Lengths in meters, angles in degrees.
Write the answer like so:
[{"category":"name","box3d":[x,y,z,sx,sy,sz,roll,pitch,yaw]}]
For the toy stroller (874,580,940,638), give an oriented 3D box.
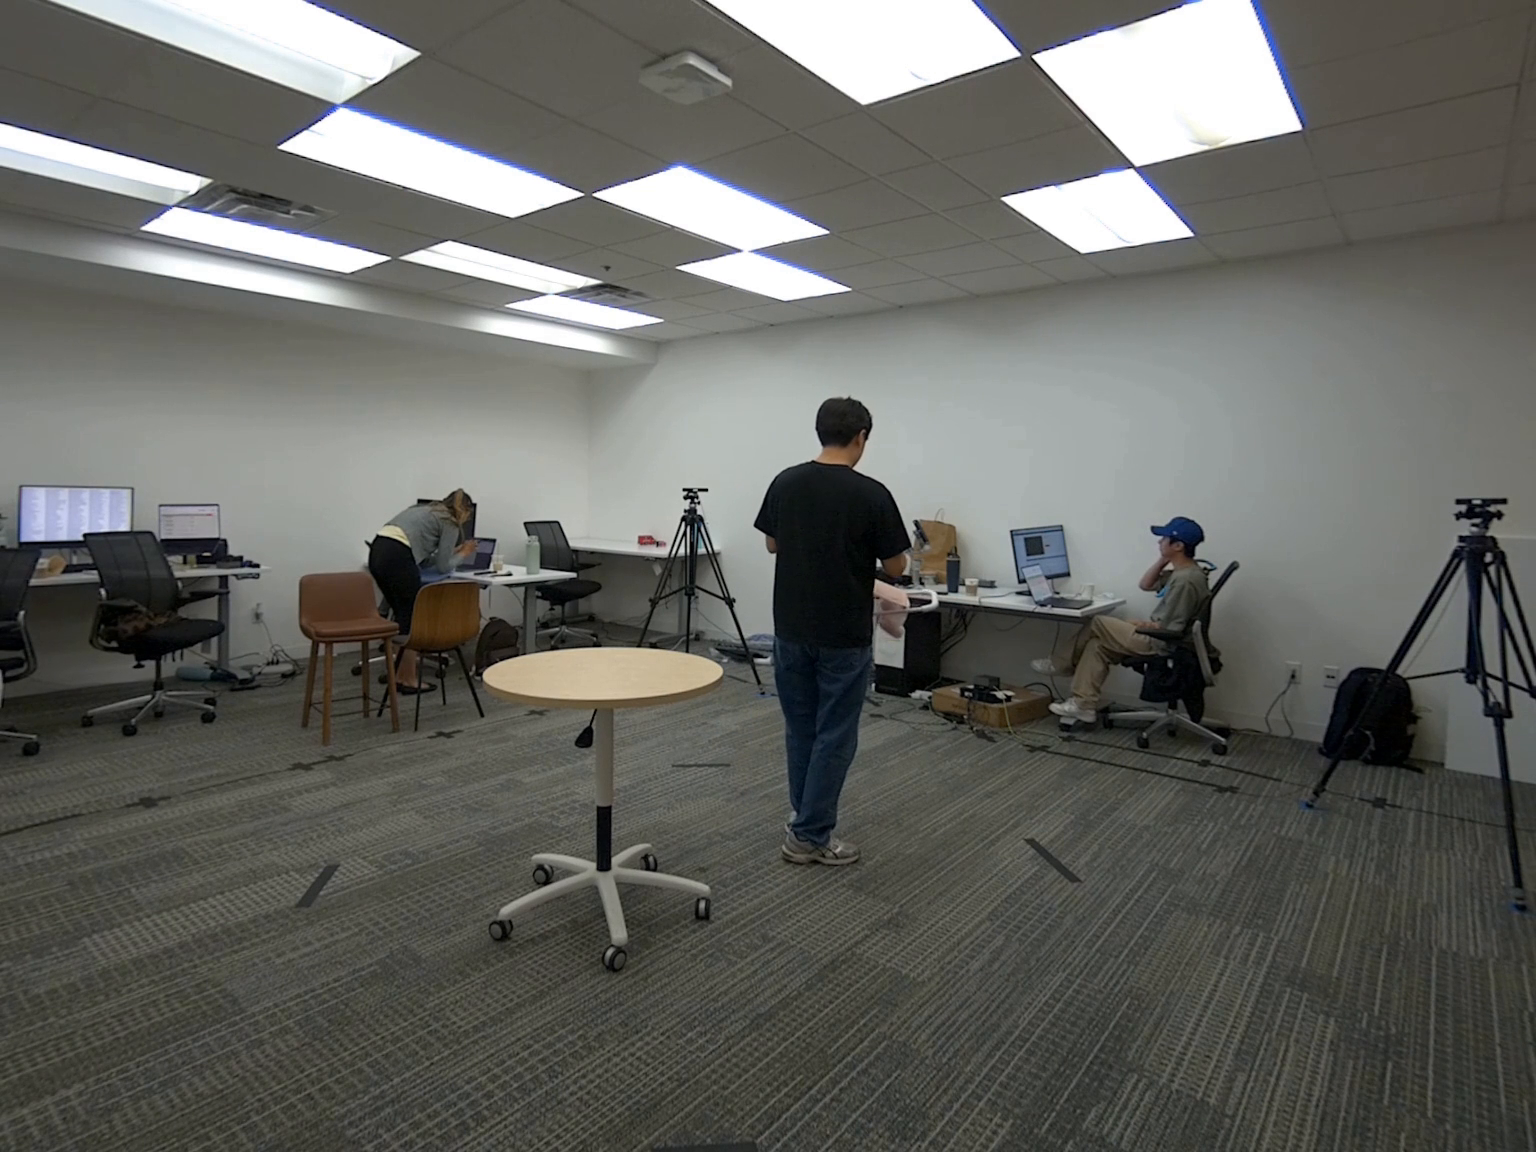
[{"category":"toy stroller","box3d":[0.379,0.076,3.563,0.533,0.340,0.284,32,20,-3]}]
